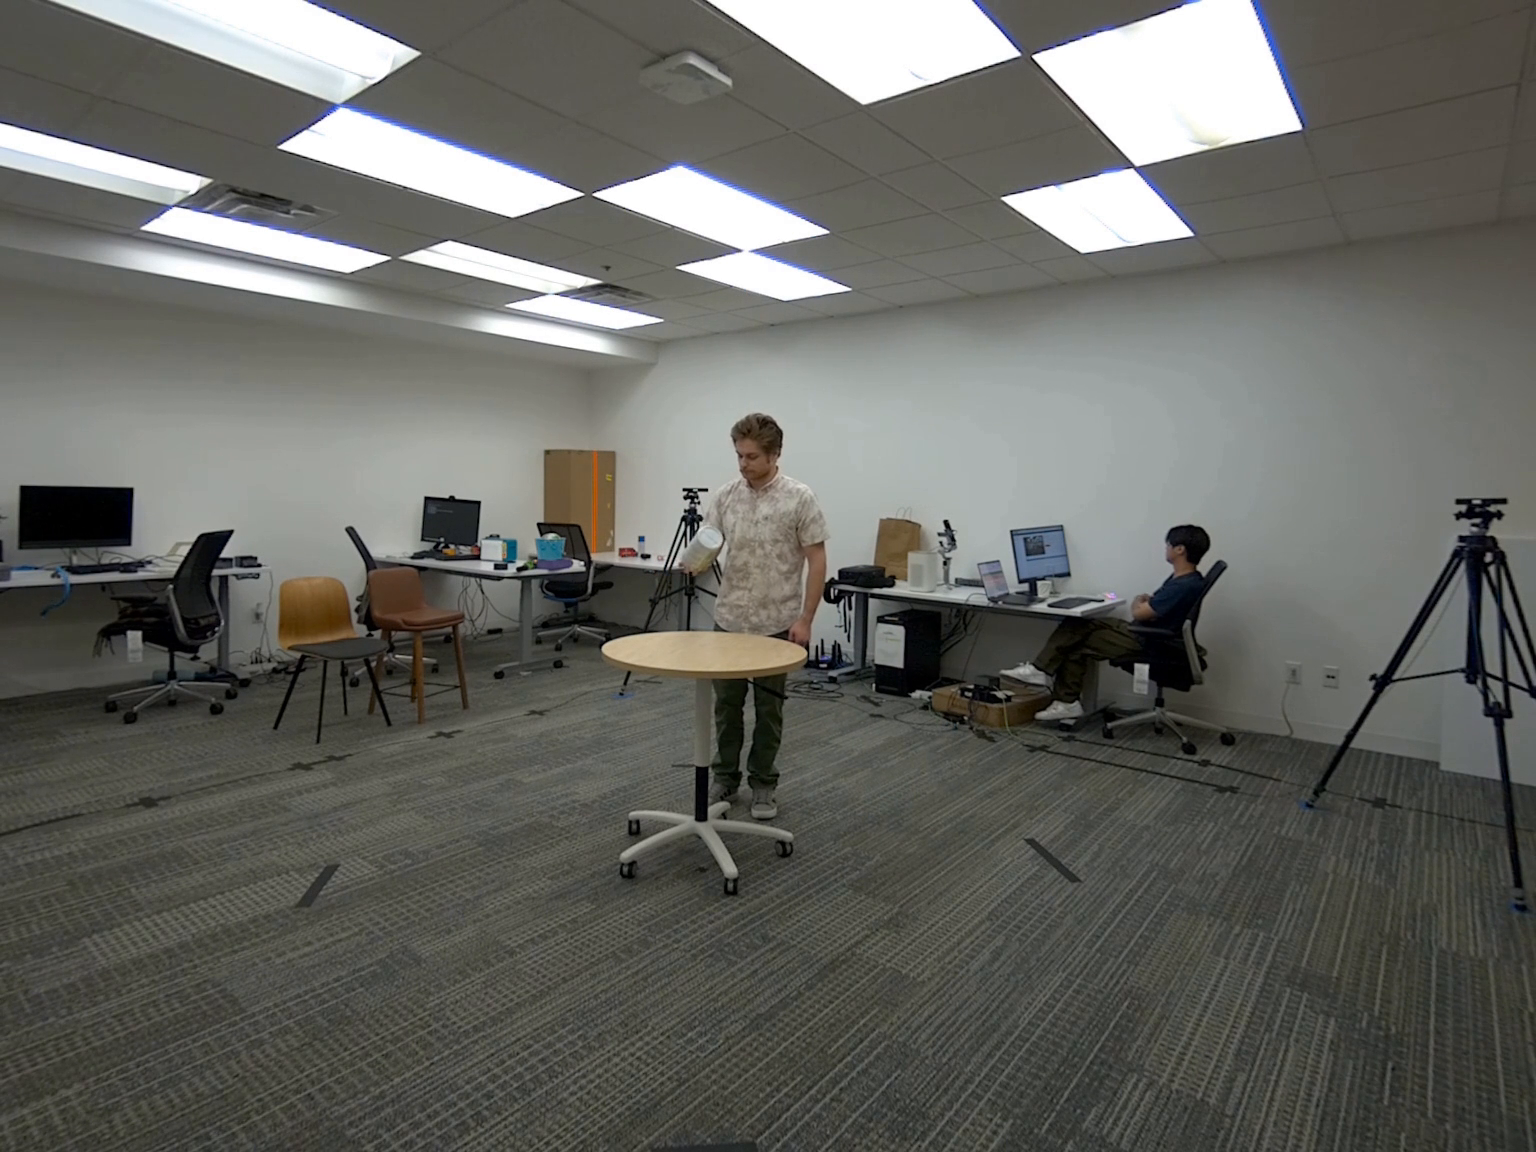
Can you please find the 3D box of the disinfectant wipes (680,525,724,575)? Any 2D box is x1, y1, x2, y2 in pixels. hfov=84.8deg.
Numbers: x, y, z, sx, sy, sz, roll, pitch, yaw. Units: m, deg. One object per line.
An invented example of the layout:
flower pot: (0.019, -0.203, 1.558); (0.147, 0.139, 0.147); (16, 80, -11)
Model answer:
disinfectant wipes: (-0.288, -0.109, 3.427); (0.115, 0.121, 0.216); (0, -29, -24)
